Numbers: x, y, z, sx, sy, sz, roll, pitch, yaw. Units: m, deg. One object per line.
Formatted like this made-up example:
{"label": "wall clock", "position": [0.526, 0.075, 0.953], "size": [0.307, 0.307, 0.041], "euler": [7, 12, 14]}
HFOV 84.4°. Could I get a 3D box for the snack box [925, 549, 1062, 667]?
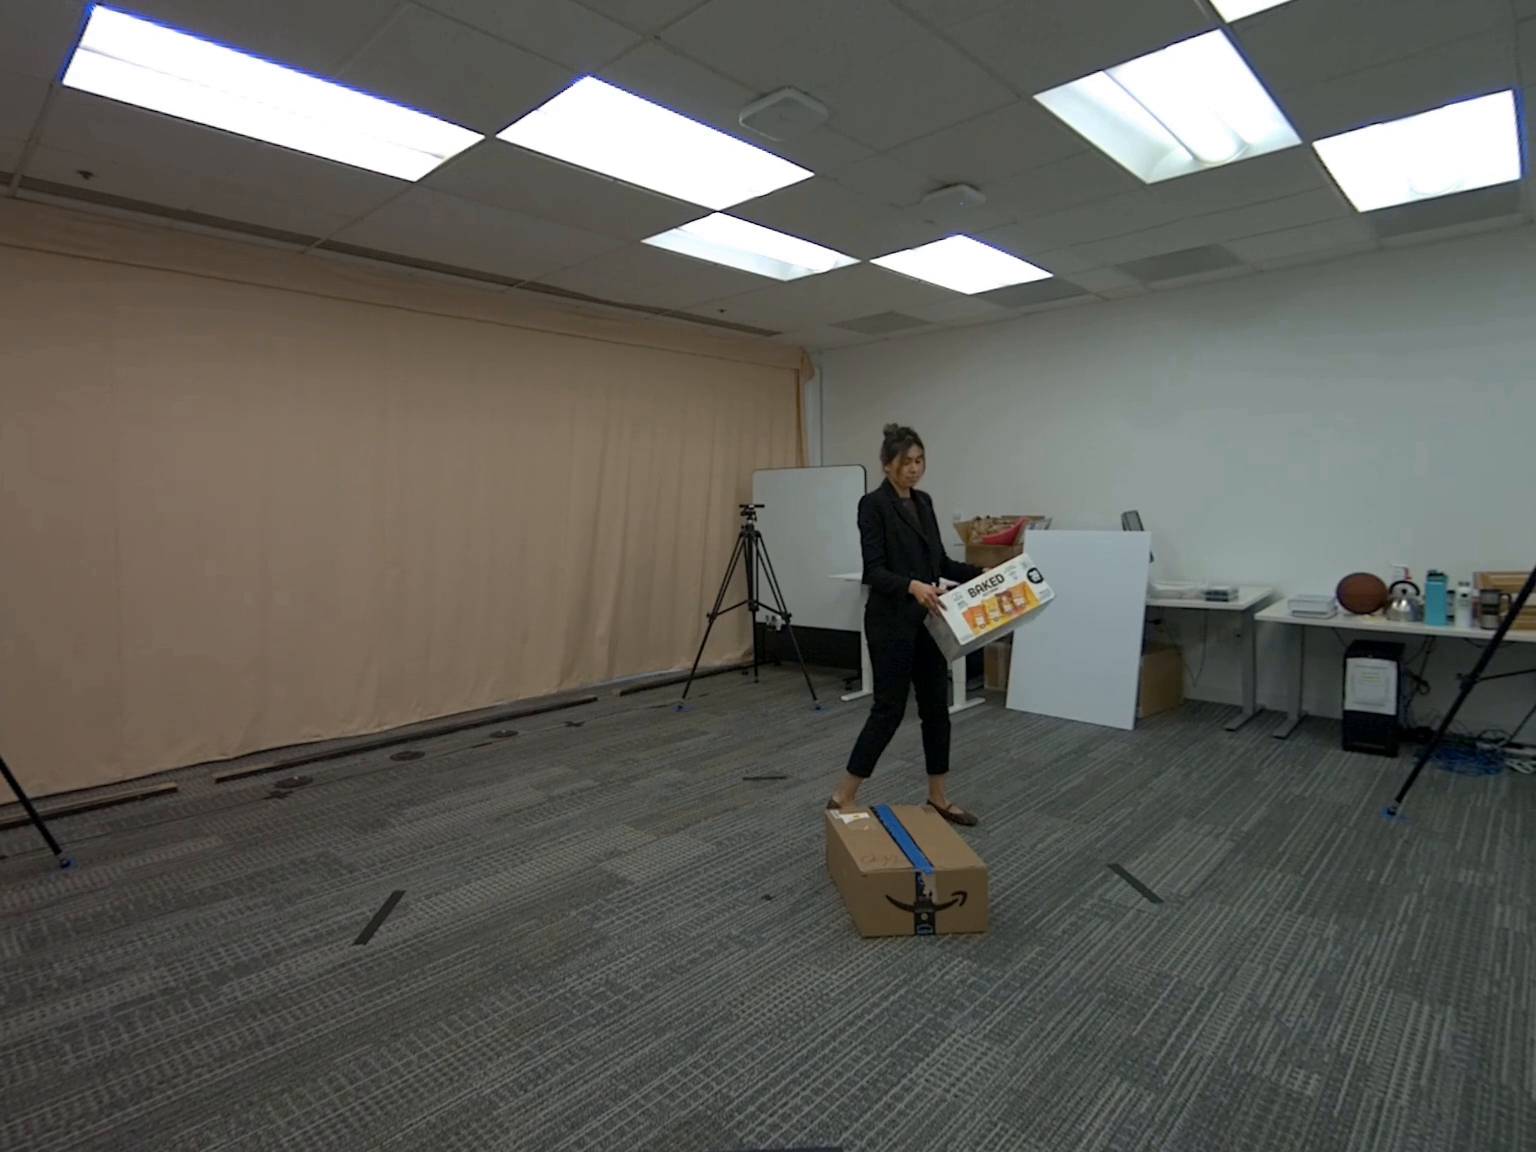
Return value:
{"label": "snack box", "position": [0.866, 0.130, 3.324], "size": [0.403, 0.210, 0.335], "euler": [-28, -18, -6]}
